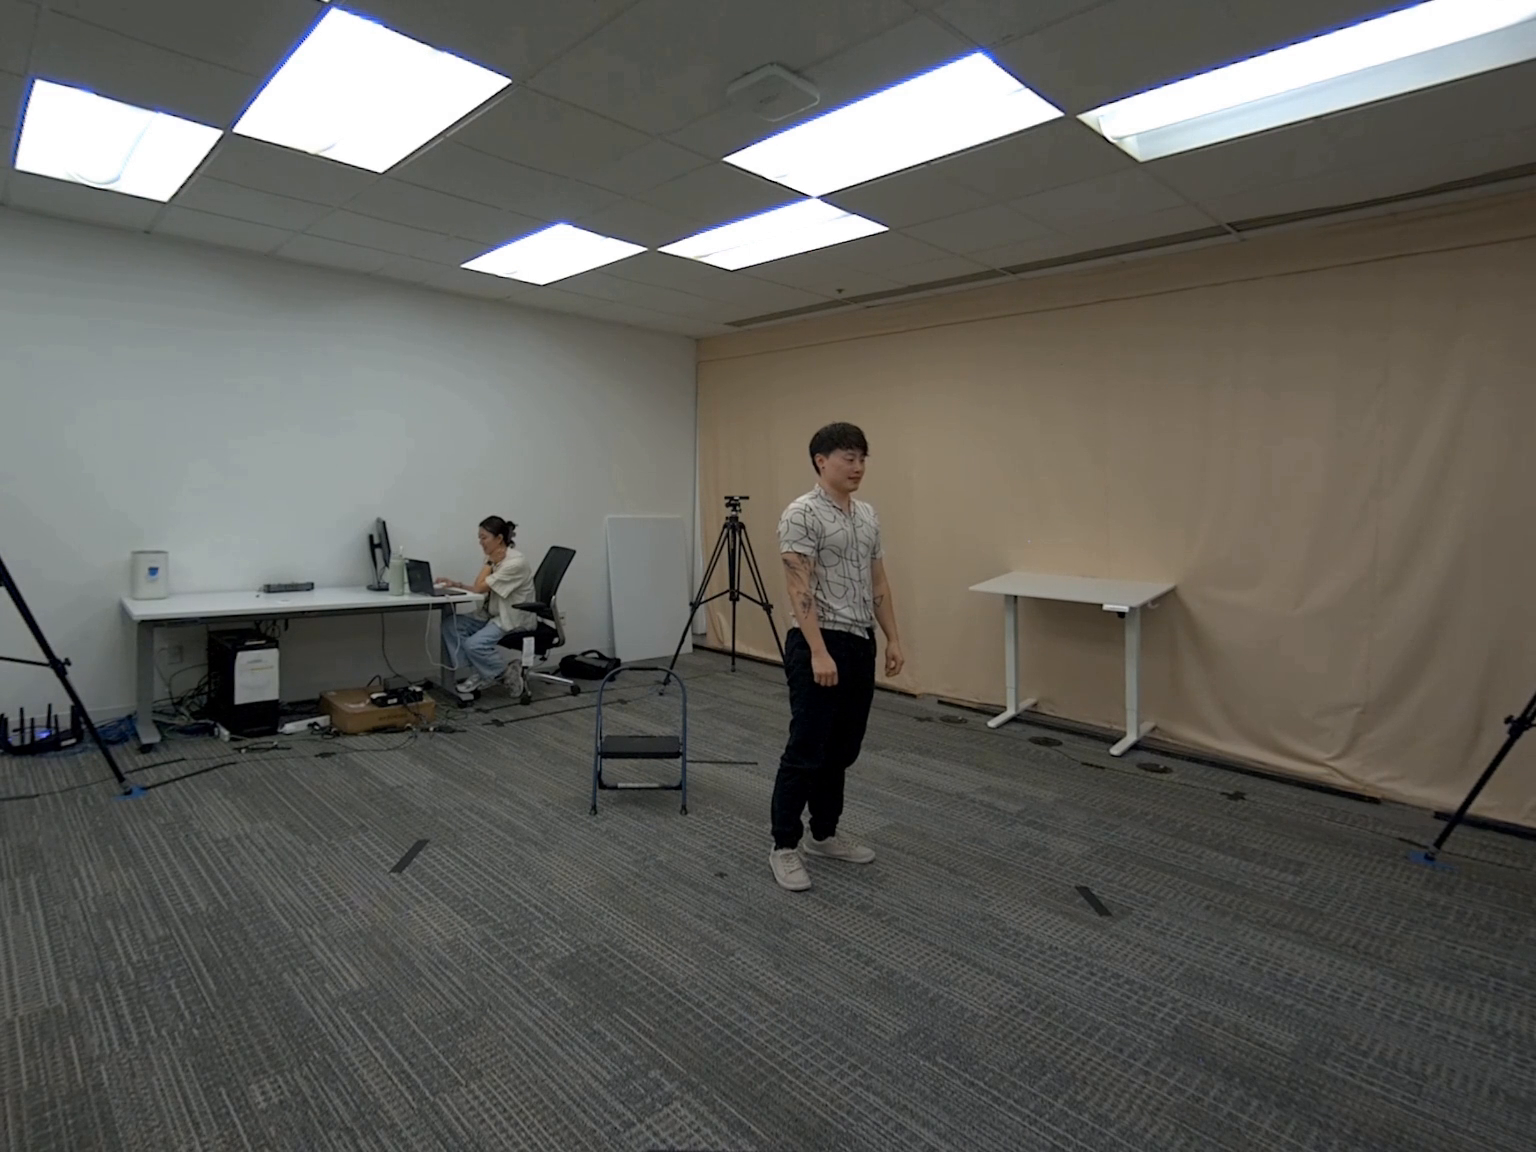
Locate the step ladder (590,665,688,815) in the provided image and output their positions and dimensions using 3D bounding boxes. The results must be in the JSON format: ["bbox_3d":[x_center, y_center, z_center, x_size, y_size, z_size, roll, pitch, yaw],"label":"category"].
[{"bbox_3d":[-0.586,0.728,3.843,0.428,0.605,0.352,1,3,-6],"label":"step ladder"}]
